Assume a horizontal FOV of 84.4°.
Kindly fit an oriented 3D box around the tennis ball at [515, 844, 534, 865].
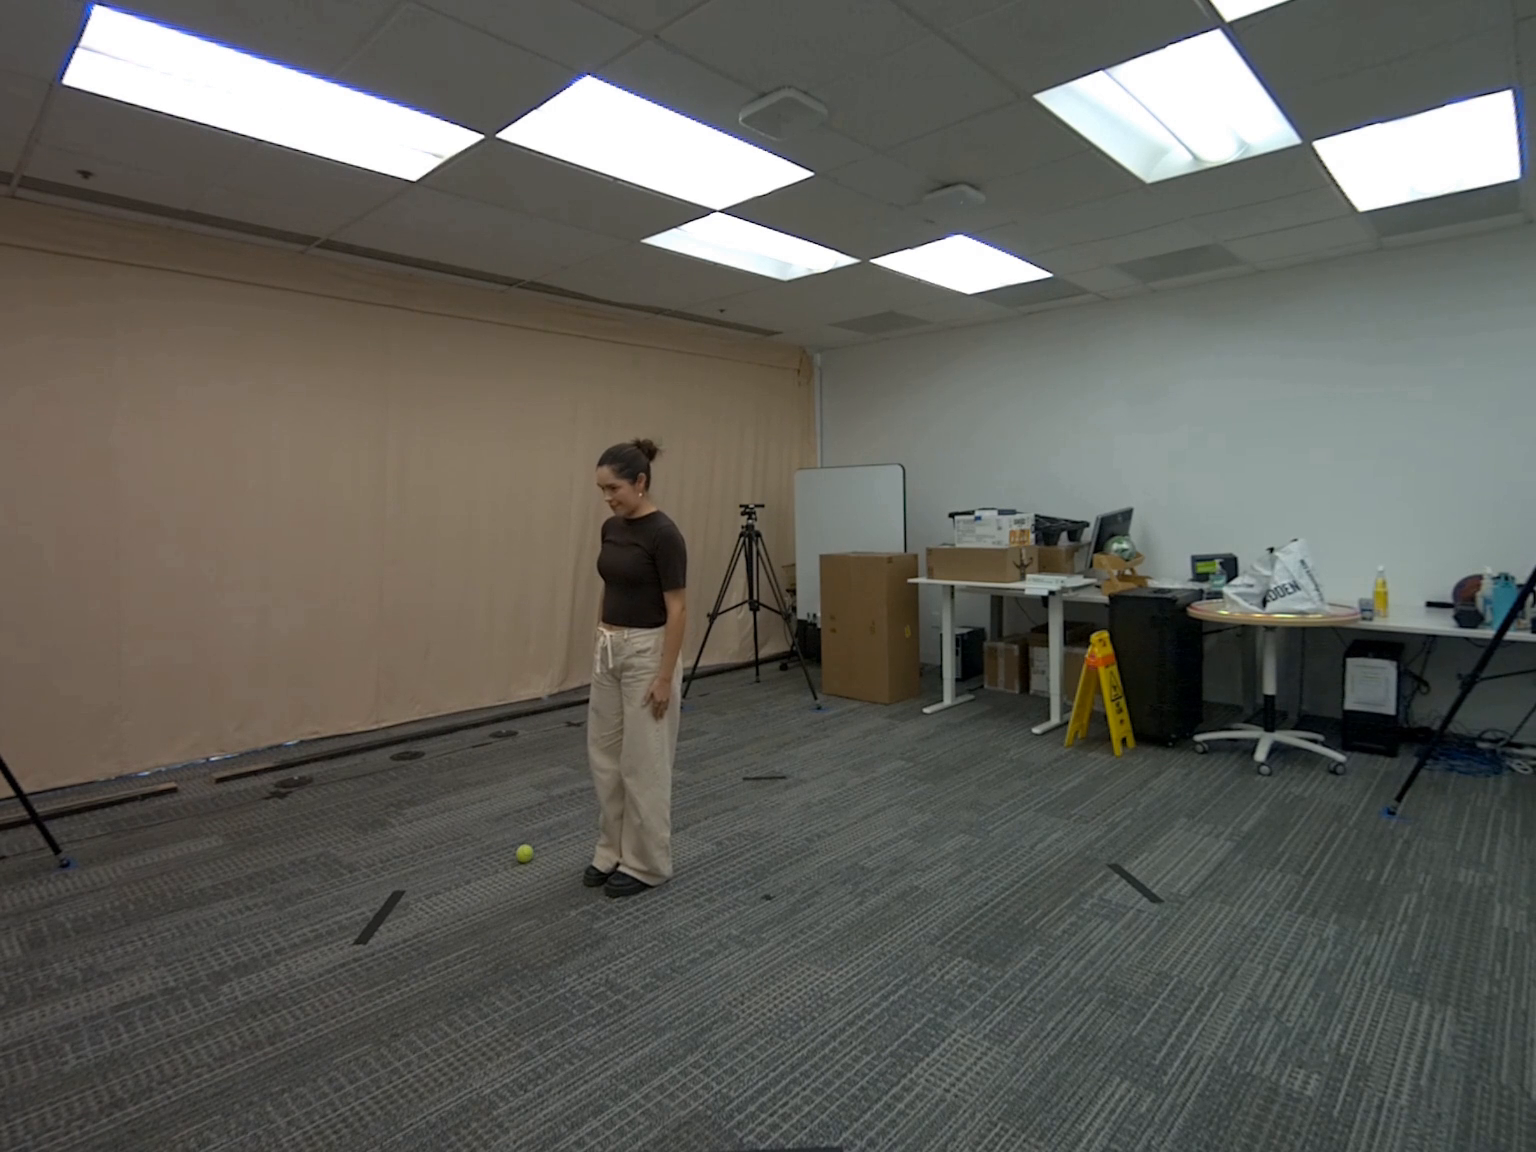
[{"bbox_3d":[-0.957,1.087,3.335,0.066,0.066,0.067,-1,4,-2],"label":"tennis ball"}]
